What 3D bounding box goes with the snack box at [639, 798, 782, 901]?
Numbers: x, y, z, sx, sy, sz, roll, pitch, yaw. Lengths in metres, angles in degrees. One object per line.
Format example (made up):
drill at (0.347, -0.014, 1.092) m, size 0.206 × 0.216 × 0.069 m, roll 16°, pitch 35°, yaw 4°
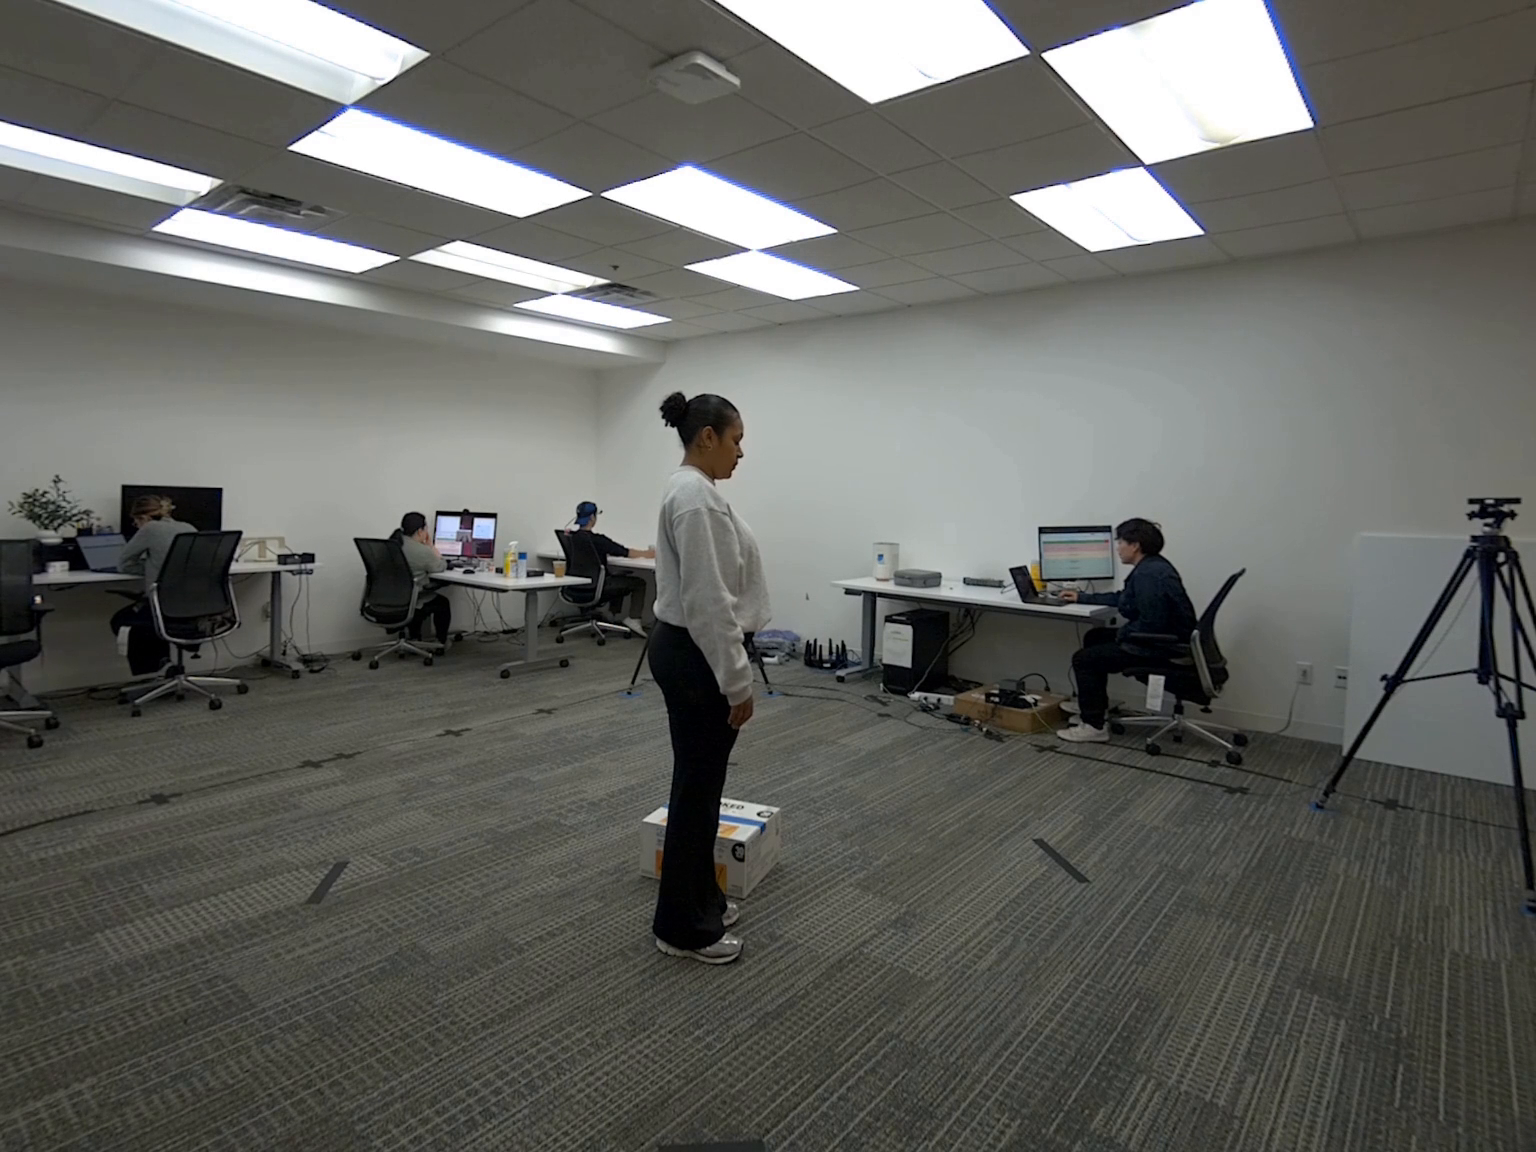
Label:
snack box at (-0.214, 0.966, 3.099) m, size 0.415 × 0.205 × 0.333 m, roll 3°, pitch 5°, yaw 23°
